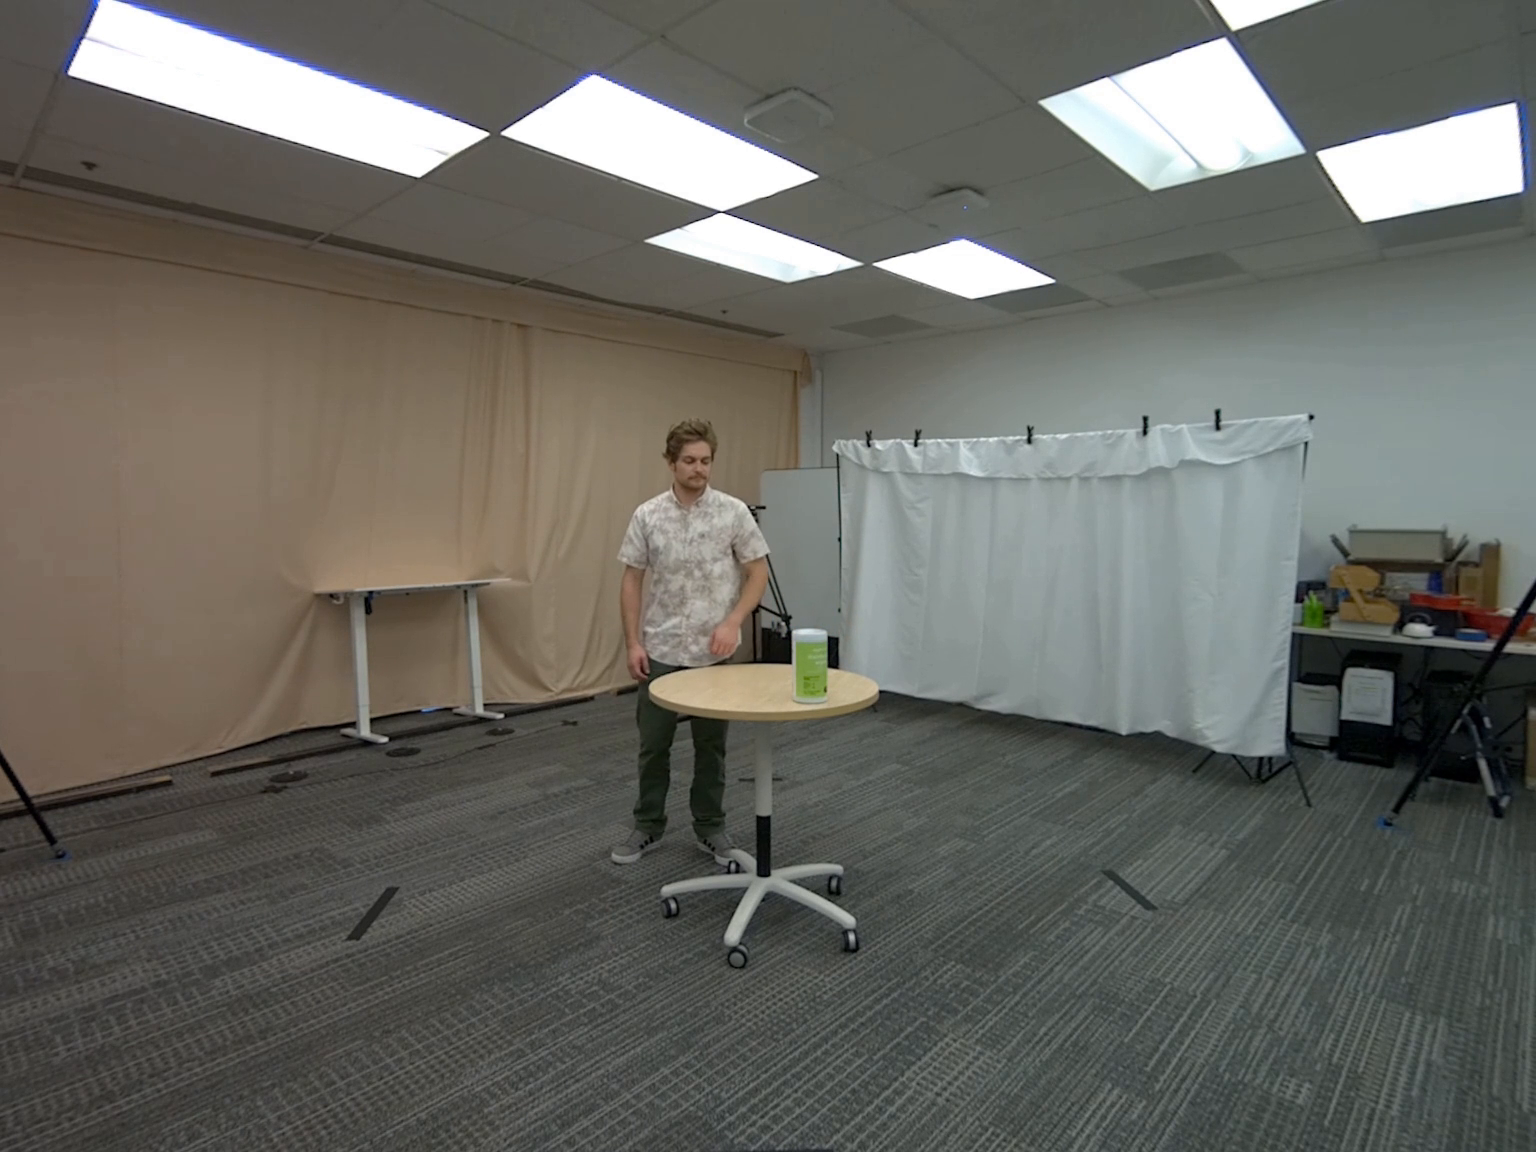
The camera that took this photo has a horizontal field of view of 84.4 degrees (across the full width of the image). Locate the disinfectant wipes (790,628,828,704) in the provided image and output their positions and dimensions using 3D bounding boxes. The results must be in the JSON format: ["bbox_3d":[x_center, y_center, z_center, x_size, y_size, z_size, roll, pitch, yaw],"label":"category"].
[{"bbox_3d":[0.130,0.276,2.585,0.118,0.217,0.118,2,2,-2],"label":"disinfectant wipes"}]
